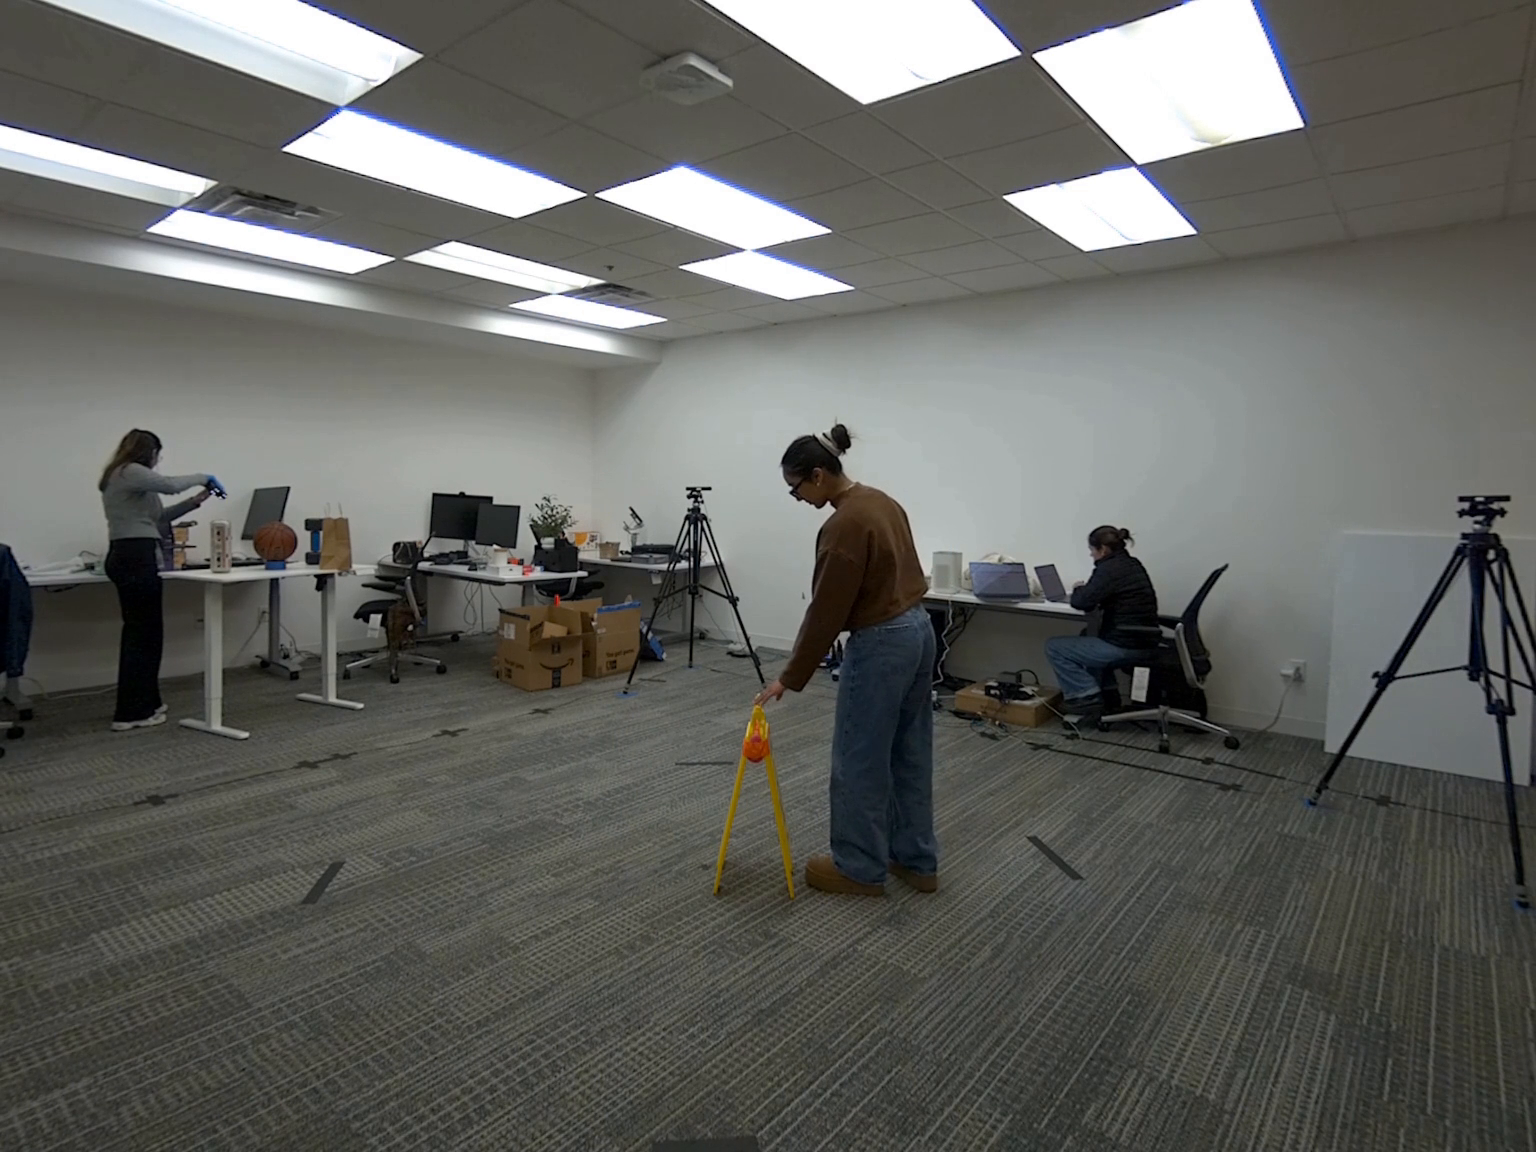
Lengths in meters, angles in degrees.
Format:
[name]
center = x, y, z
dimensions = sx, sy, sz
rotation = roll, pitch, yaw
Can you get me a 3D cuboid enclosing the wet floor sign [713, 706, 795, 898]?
[wet floor sign]
center = -0.046, 0.763, 3.023
dimensions = 0.291, 0.644, 0.281
rotation = 1, 3, 4
